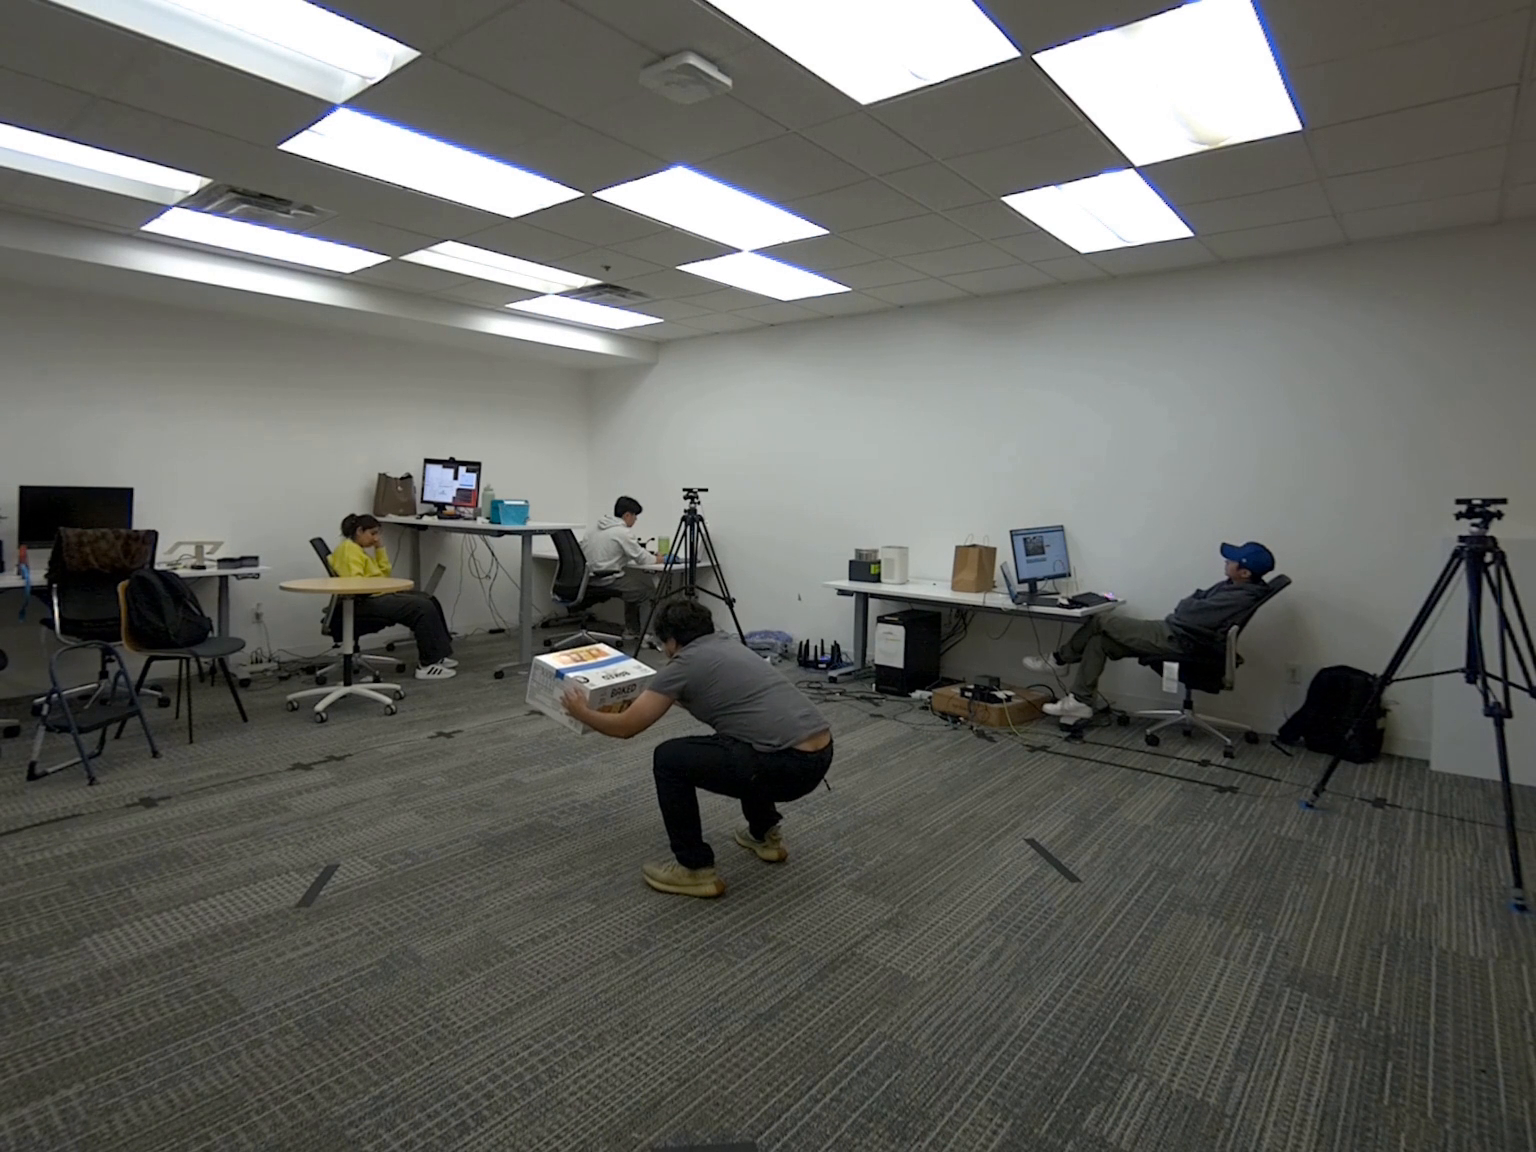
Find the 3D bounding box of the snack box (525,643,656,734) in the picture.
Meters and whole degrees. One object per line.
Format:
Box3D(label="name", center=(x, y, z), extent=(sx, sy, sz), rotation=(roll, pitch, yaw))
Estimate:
Box3D(label="snack box", center=(-0.743, 0.458, 3.545), extent=(0.353, 0.204, 0.394), rotation=(20, 15, 32))
